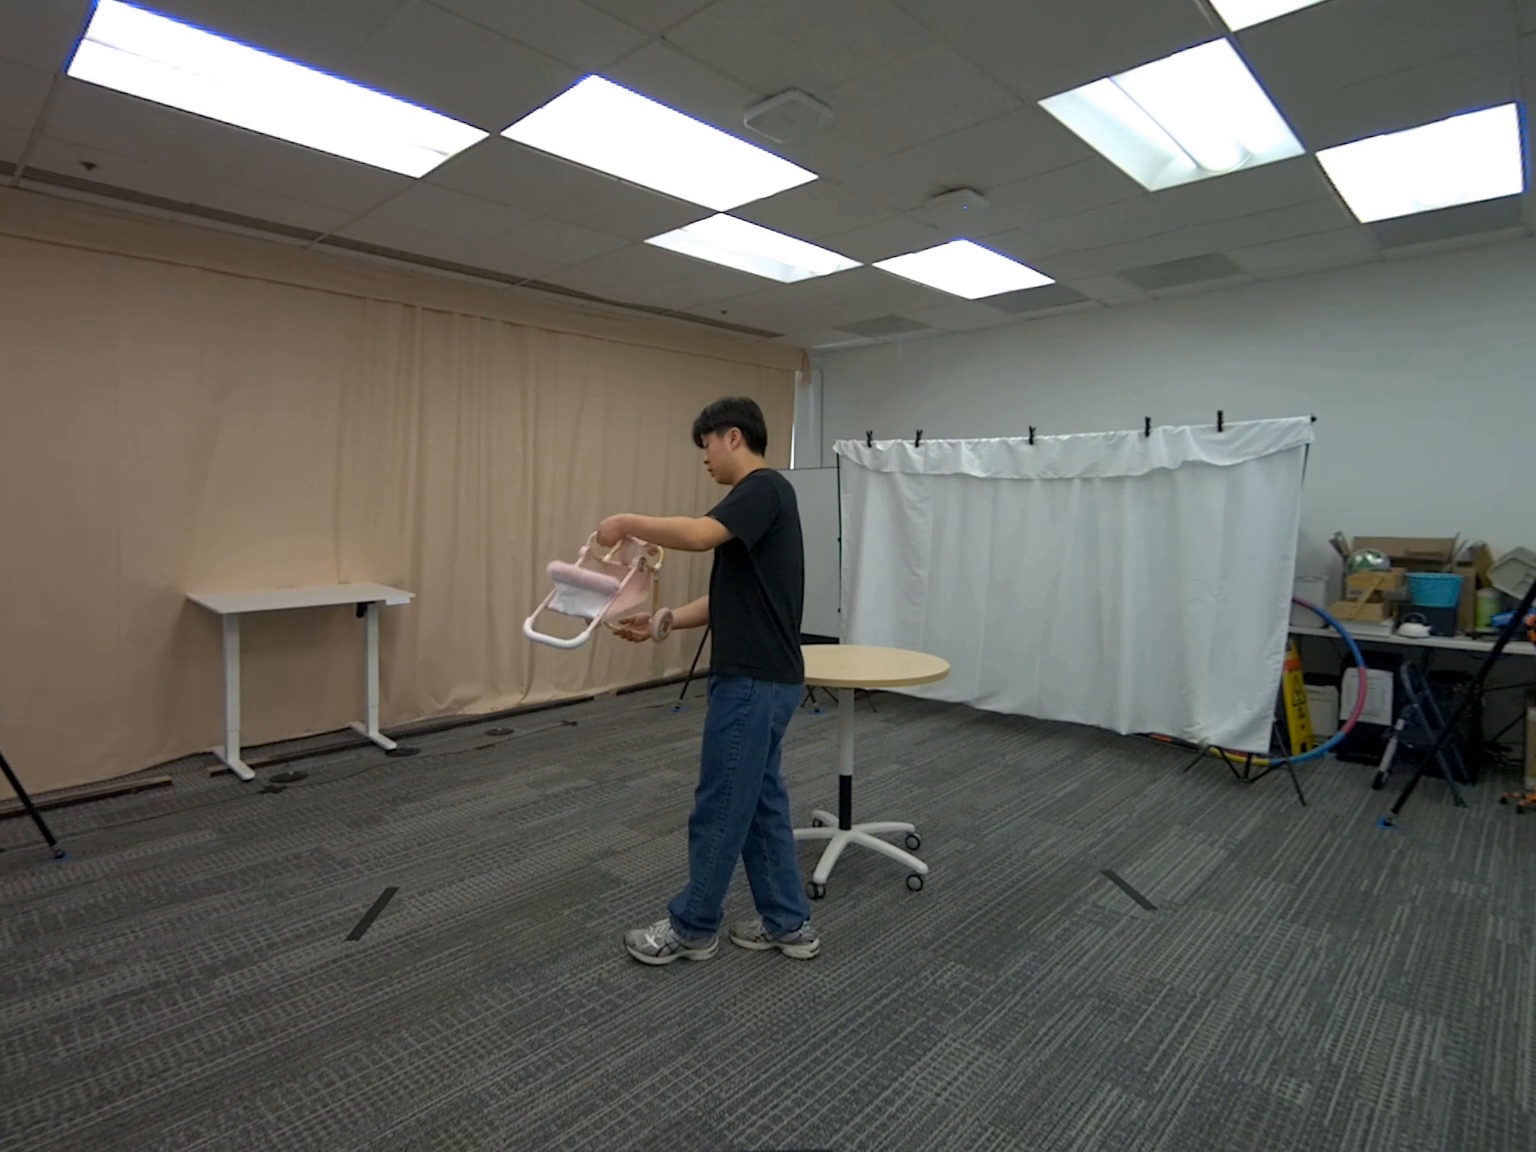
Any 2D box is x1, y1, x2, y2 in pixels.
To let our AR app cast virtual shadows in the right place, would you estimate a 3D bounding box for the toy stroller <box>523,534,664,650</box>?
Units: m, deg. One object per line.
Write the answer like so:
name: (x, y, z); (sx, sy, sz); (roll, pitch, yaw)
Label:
toy stroller: (-0.476, 0.024, 2.538); (0.289, 0.341, 0.521); (15, 3, 23)
